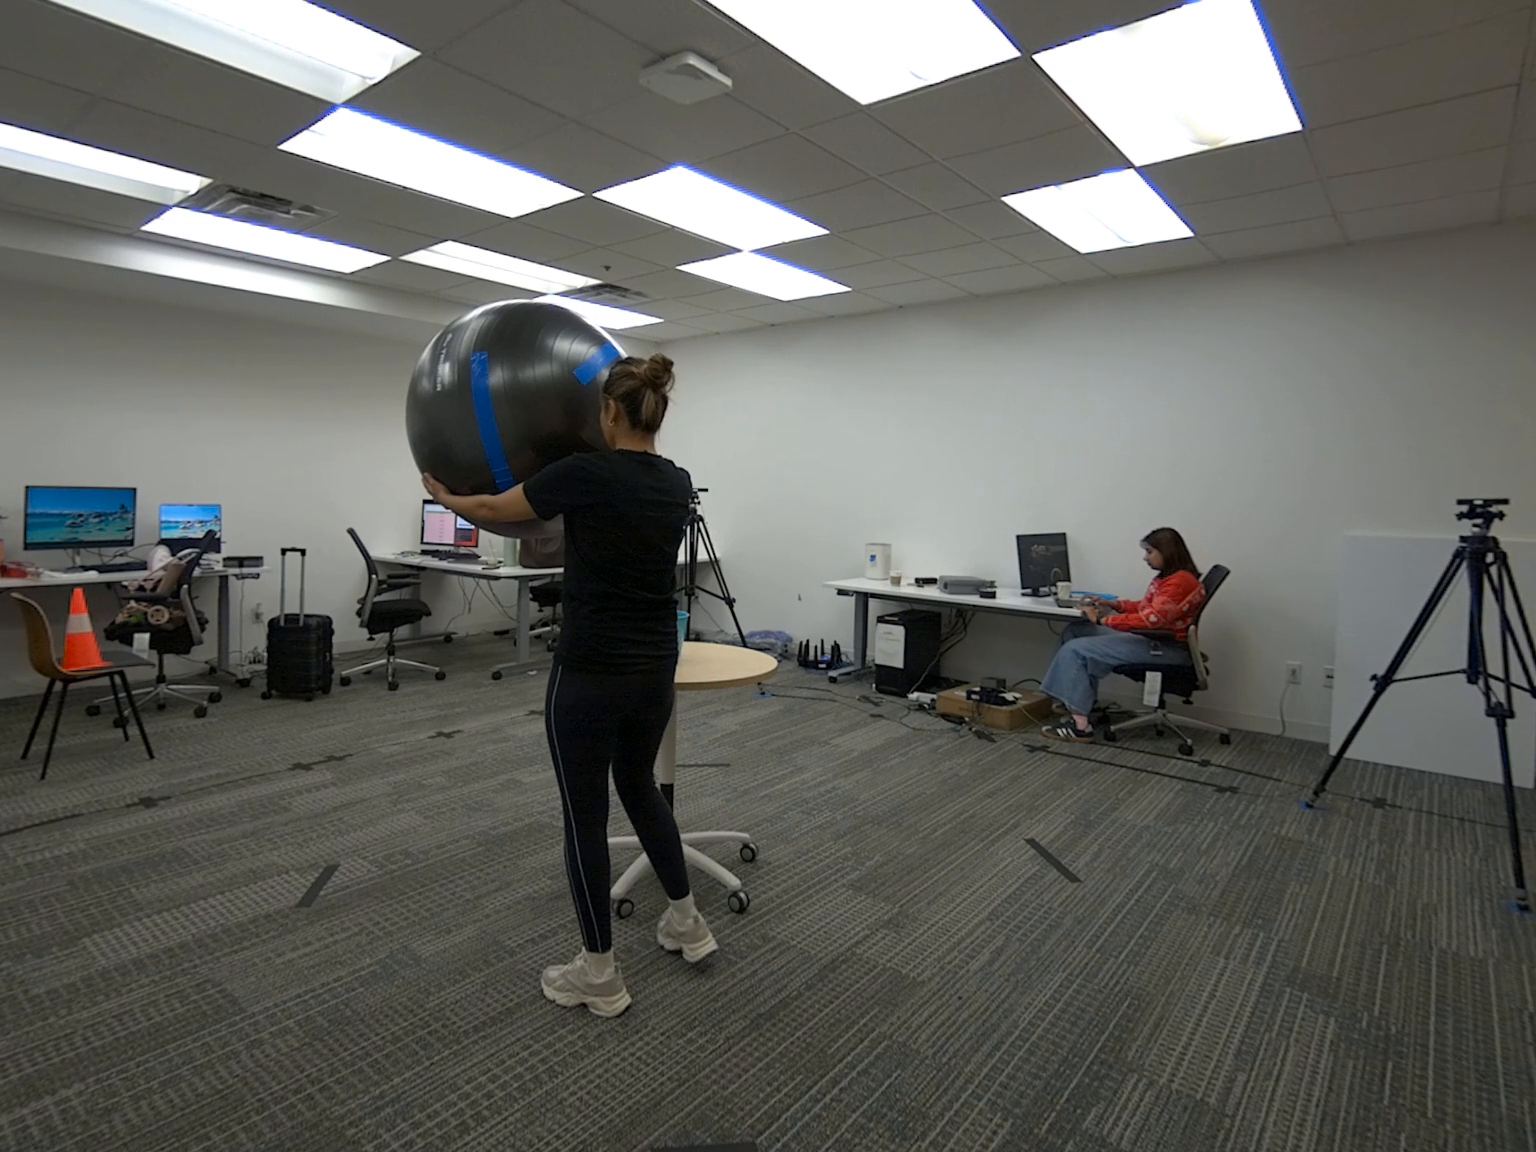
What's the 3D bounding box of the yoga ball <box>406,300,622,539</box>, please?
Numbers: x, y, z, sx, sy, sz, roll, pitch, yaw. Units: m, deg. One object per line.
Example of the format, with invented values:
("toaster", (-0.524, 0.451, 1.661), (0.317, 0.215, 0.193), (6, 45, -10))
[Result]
("yoga ball", (-0.775, -0.493, 2.731), (0.757, 0.756, 0.761), (1, 4, -2))
